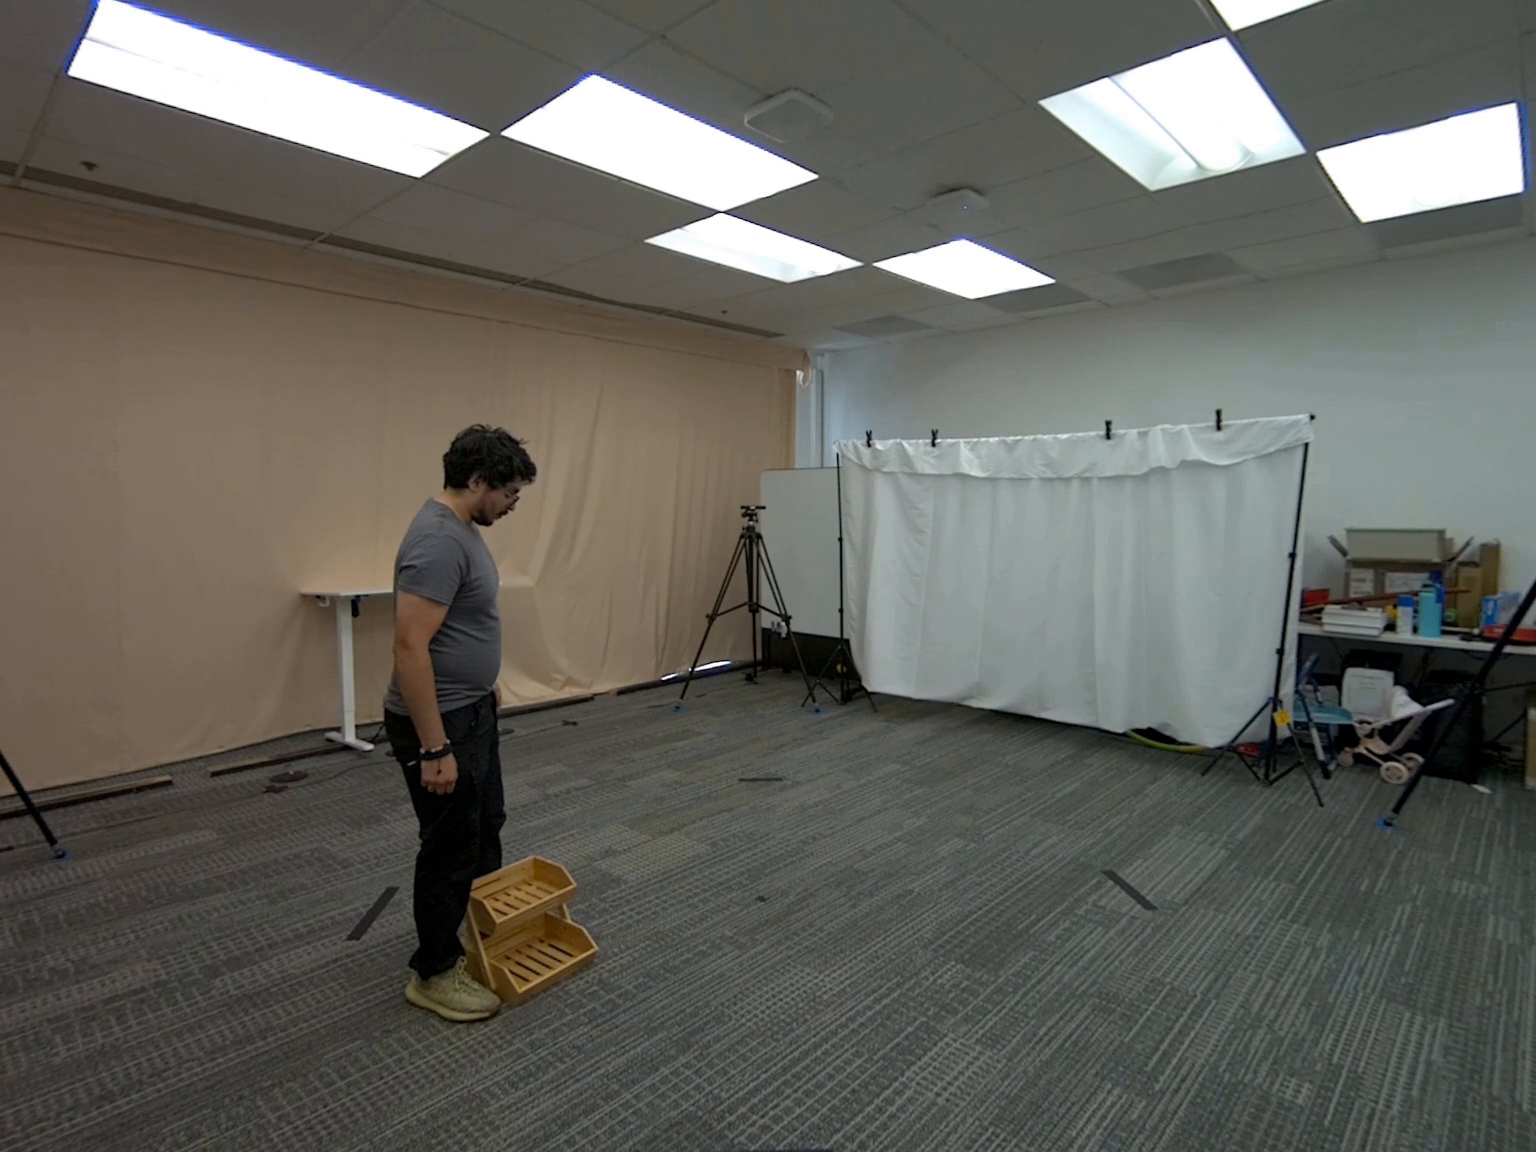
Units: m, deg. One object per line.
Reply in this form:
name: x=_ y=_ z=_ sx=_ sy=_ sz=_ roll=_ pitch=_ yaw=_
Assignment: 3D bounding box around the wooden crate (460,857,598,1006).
wooden crate: x=-0.725 y=1.054 z=2.530 sx=0.311 sy=0.273 sz=0.315 roll=1 pitch=4 yaw=37
